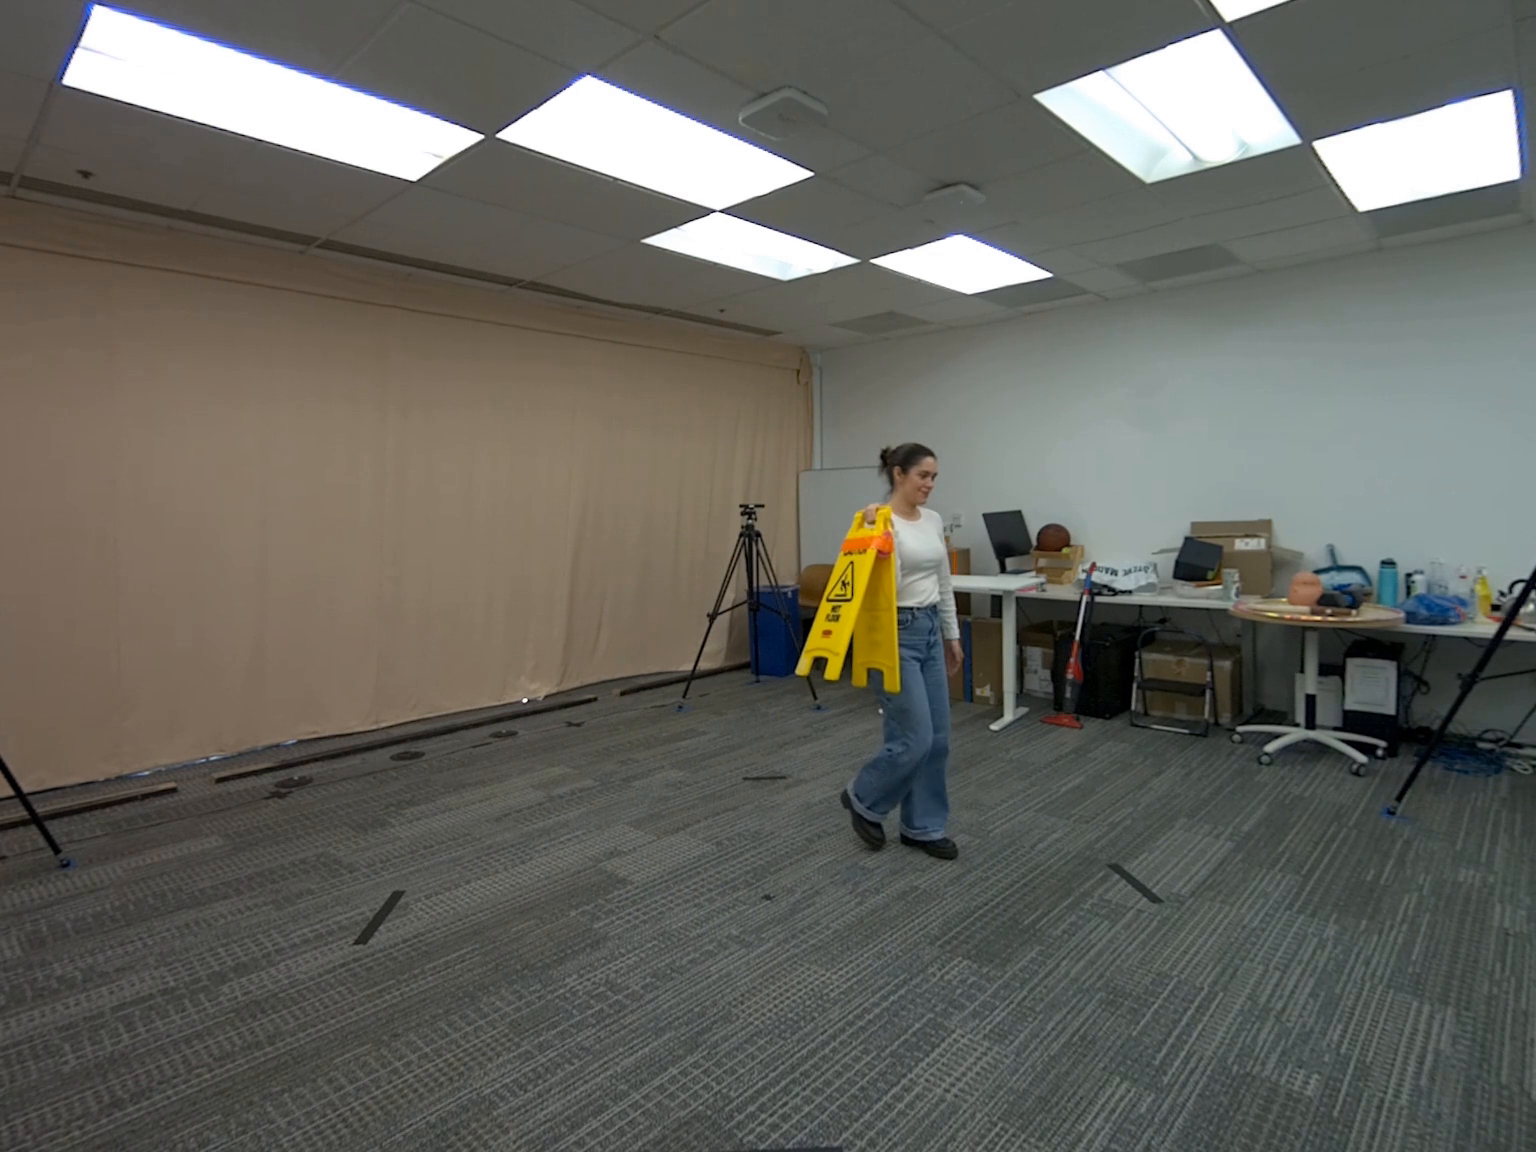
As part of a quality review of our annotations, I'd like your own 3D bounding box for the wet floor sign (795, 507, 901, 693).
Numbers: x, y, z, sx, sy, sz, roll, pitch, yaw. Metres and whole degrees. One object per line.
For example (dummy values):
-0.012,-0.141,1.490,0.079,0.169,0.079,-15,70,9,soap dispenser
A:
0.332,0.071,3.057,0.282,0.648,0.289,13,-8,-26,wet floor sign
